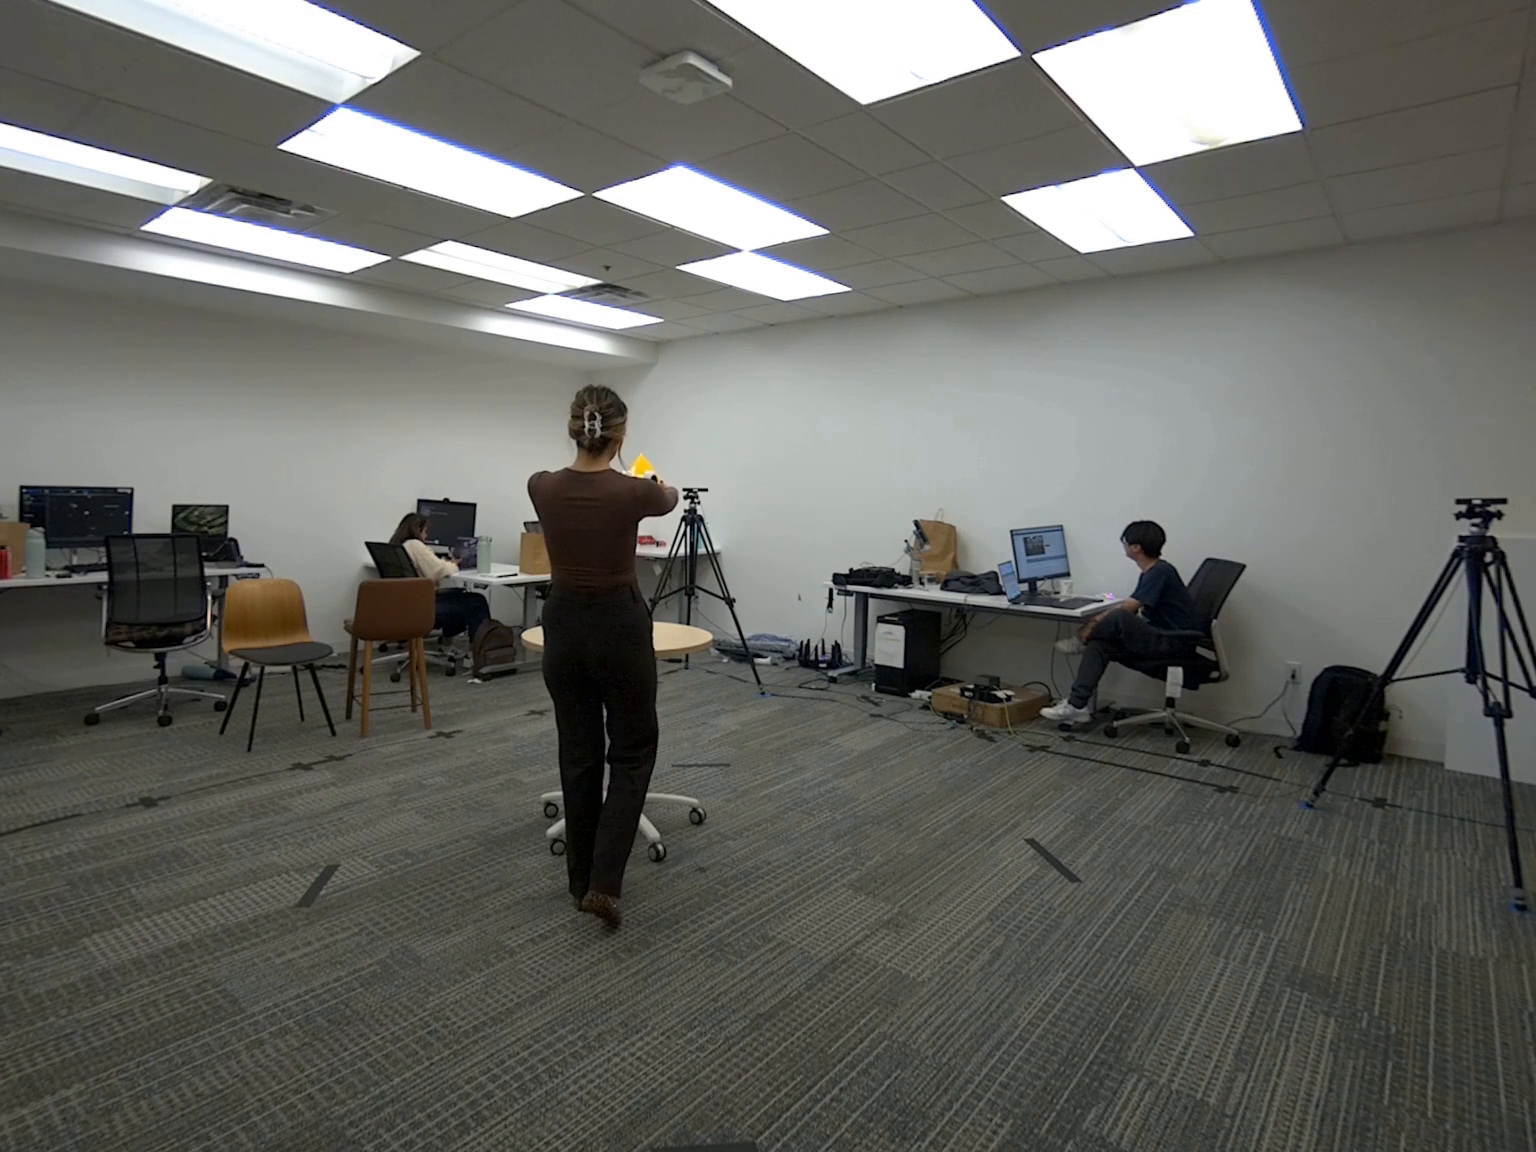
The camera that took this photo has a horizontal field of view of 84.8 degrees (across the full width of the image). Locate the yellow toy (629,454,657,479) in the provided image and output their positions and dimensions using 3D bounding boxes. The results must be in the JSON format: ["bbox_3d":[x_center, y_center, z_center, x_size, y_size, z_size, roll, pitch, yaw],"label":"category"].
[{"bbox_3d":[-0.504,-0.354,3.273,0.206,0.229,0.193,1,8,4],"label":"yellow toy"}]
